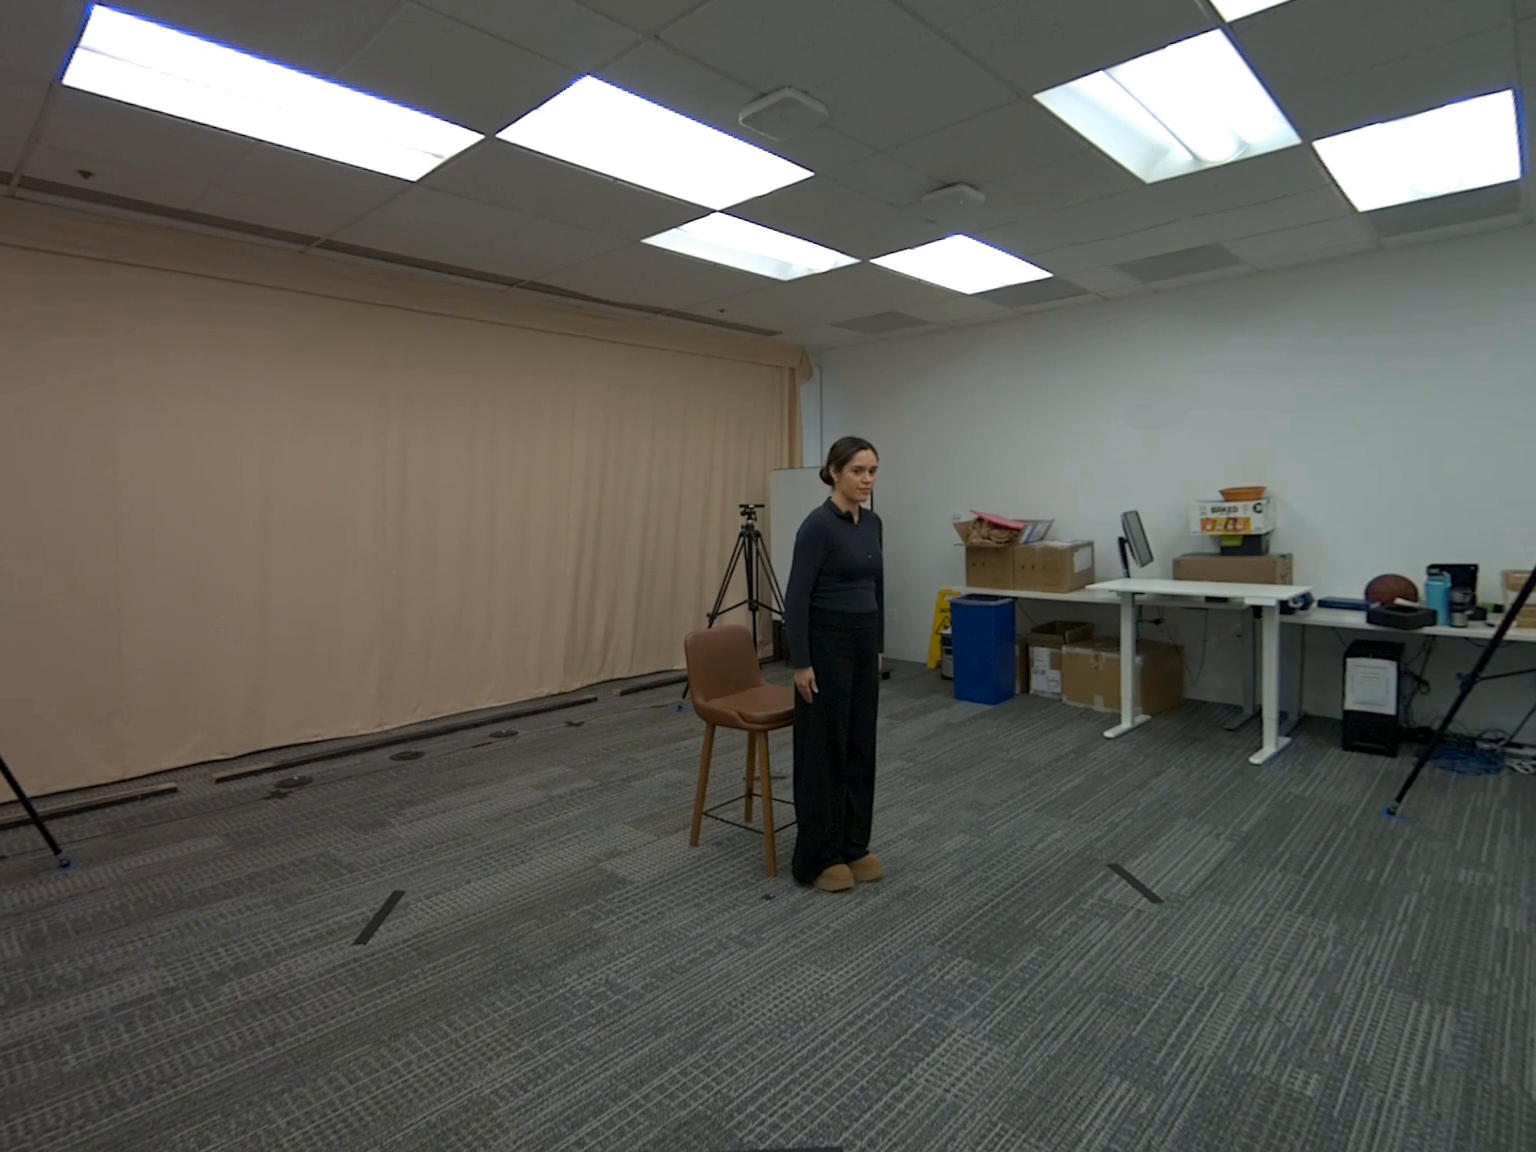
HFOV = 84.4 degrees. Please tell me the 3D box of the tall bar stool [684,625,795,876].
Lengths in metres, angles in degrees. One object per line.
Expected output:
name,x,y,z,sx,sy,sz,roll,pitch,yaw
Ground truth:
tall bar stool,-0.046,0.667,3.428,0.482,0.889,0.443,-1,2,41
